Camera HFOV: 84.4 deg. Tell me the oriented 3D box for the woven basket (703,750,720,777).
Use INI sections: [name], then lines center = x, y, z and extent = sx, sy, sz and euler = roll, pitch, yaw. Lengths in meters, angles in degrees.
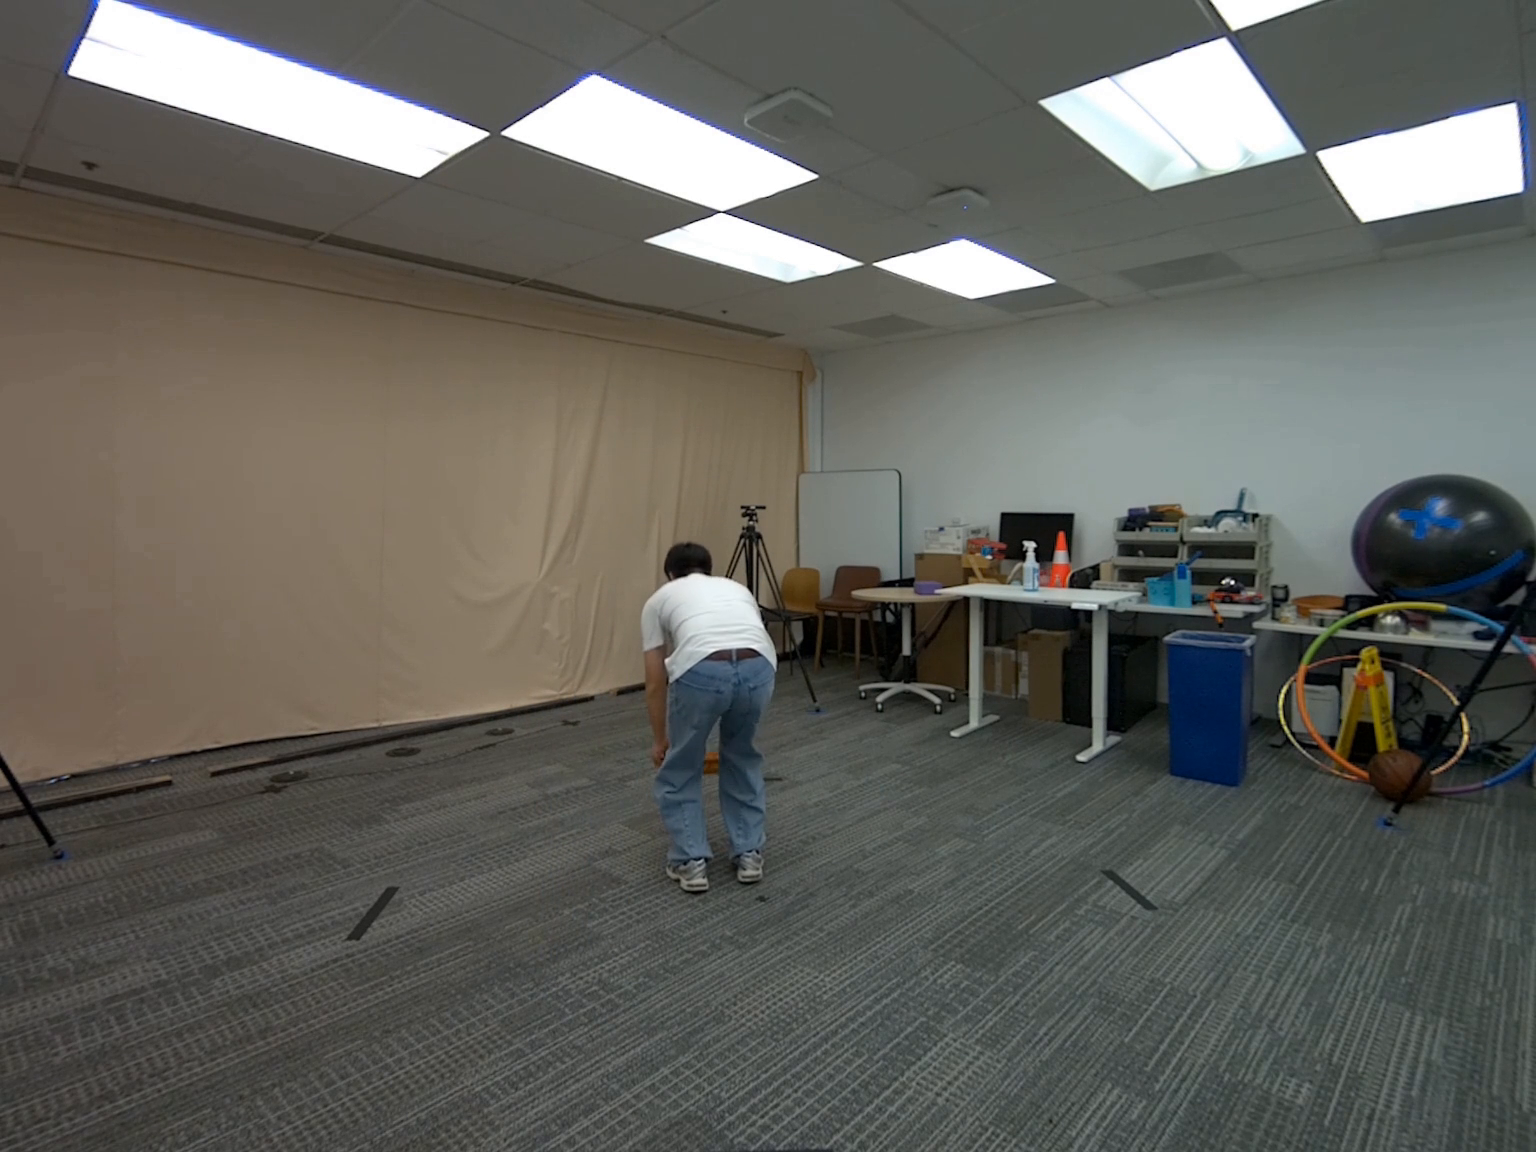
[woven basket]
center = -0.280, 0.772, 3.491
extent = 0.345, 0.073, 0.255
euler = 1, -3, -15
